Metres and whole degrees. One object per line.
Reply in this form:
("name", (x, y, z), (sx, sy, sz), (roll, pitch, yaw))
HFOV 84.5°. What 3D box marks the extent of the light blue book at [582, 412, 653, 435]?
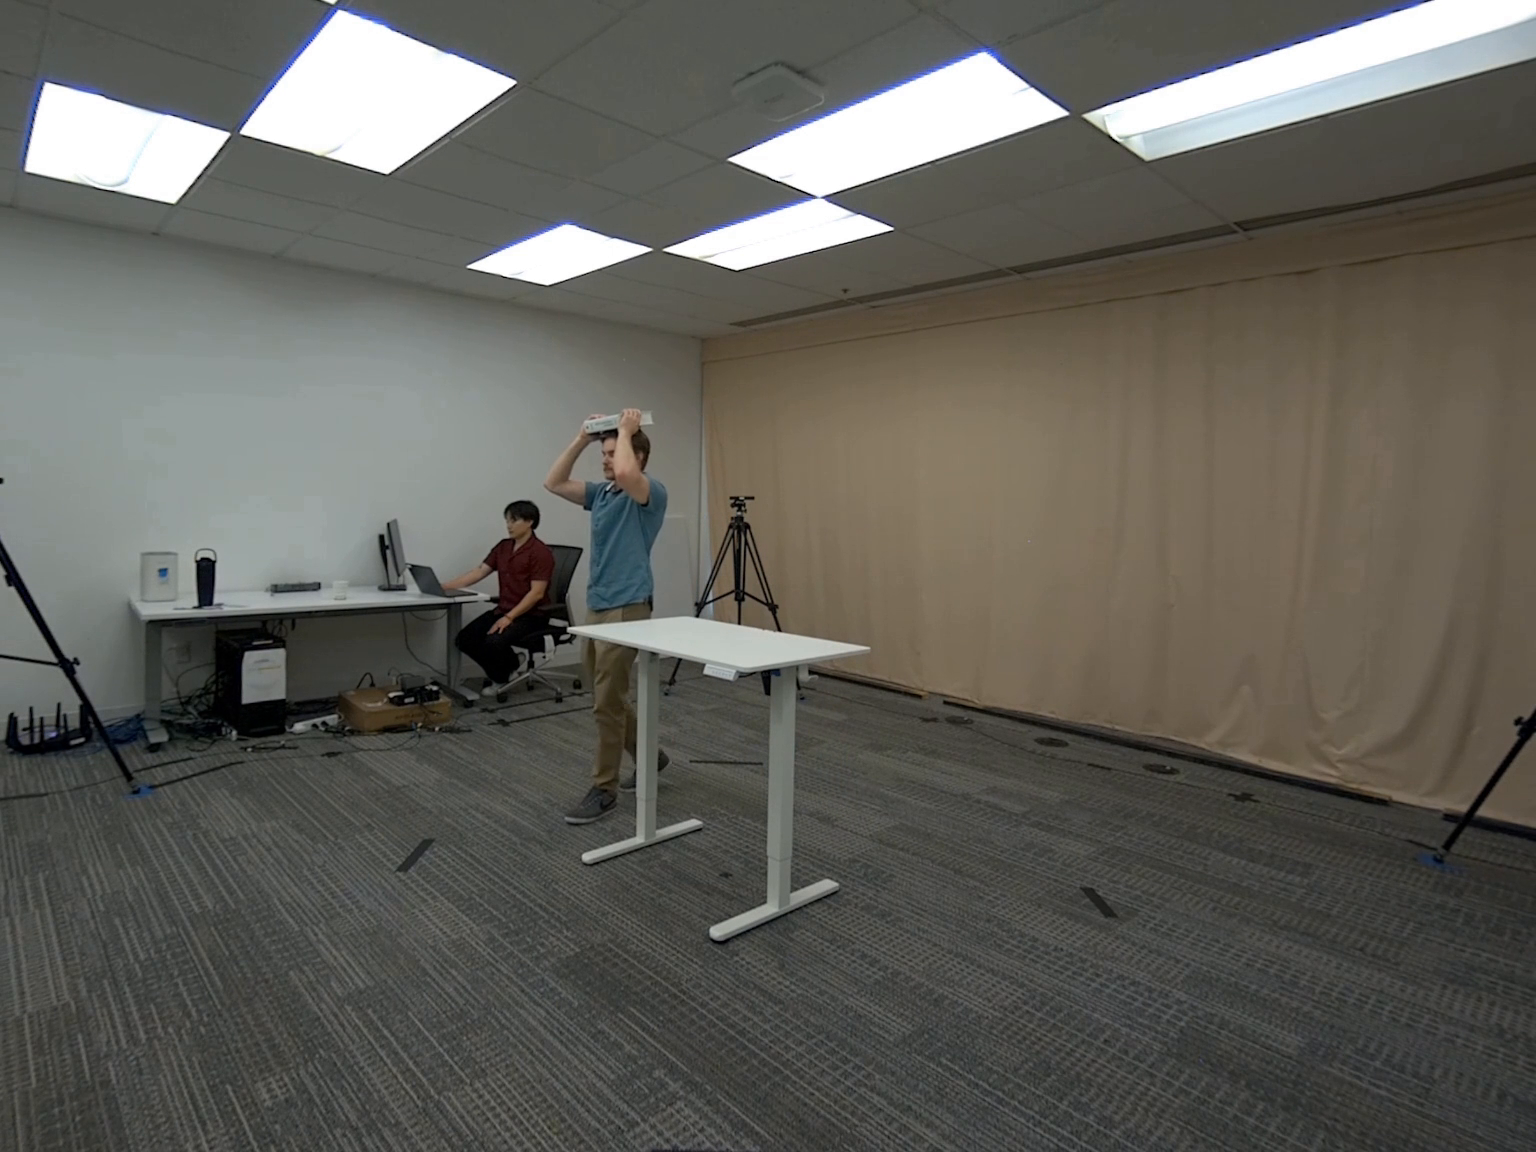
("light blue book", (-0.669, -0.677, 3.723), (0.267, 0.058, 0.188), (-1, 12, 38))
